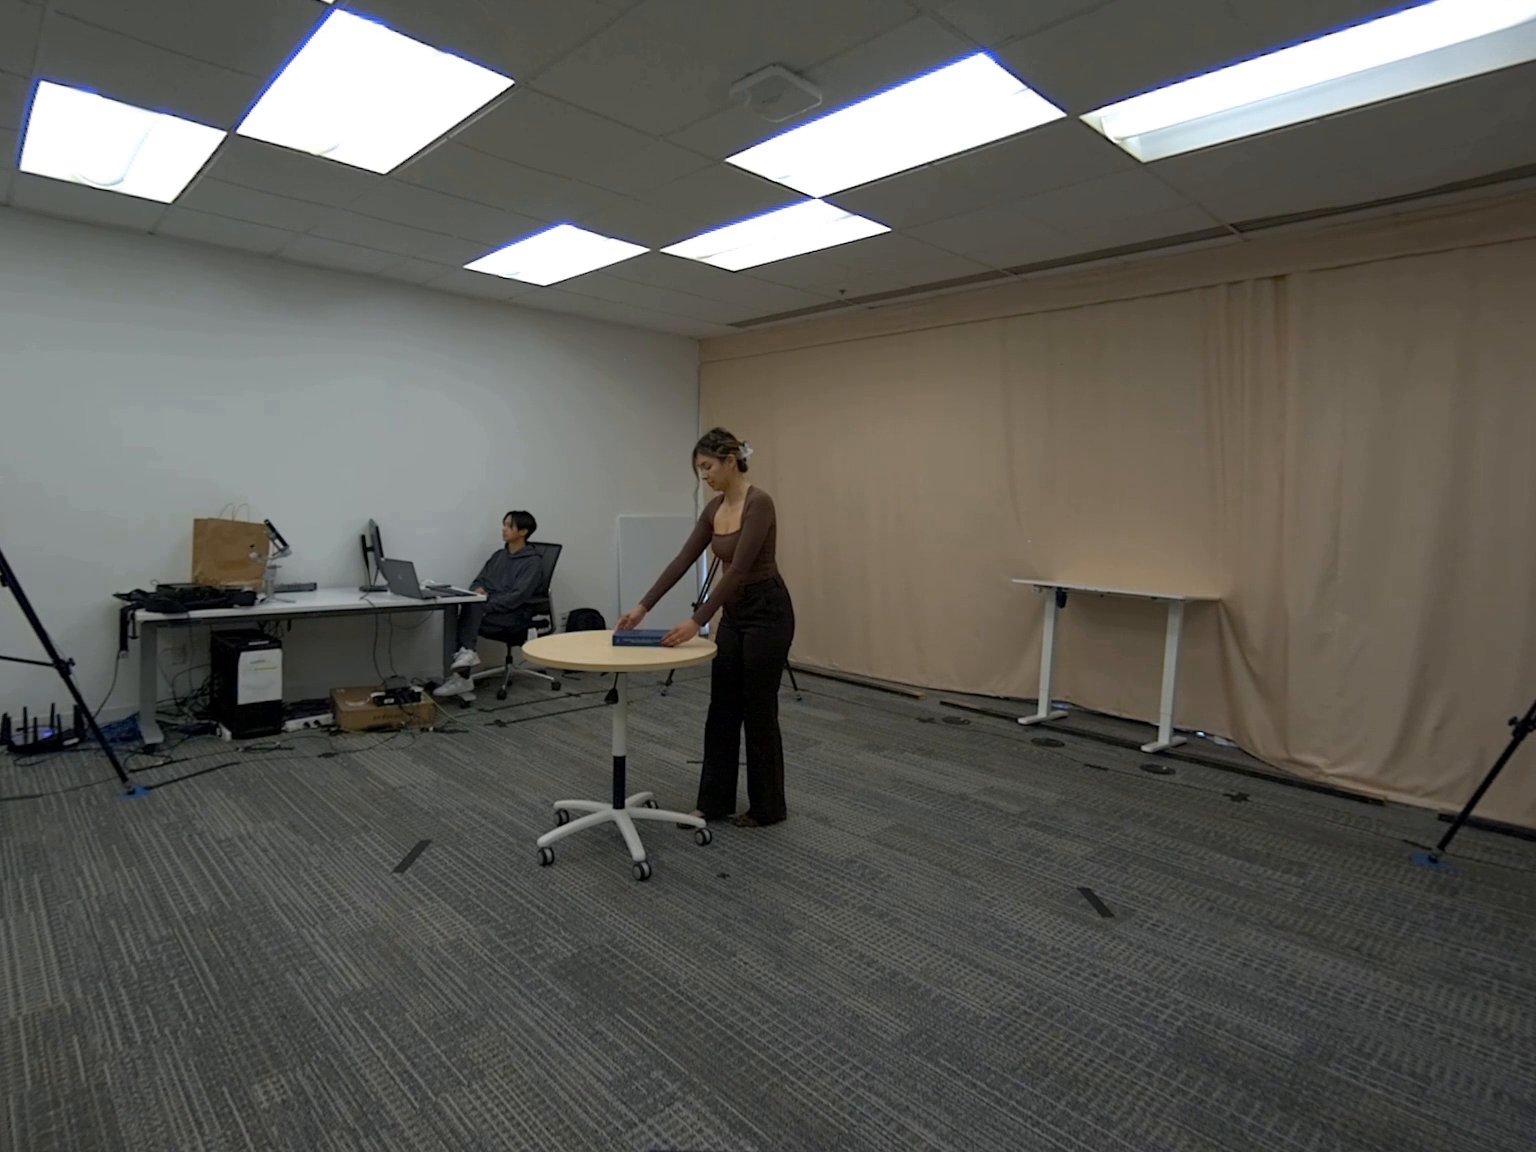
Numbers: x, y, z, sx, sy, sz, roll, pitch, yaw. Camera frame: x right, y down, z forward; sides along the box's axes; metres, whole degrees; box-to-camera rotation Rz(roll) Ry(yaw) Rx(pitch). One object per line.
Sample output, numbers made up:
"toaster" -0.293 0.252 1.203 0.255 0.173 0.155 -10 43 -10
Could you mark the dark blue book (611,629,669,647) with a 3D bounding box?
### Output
"dark blue book" -0.507 0.254 3.409 0.245 0.045 0.163 1 5 1
